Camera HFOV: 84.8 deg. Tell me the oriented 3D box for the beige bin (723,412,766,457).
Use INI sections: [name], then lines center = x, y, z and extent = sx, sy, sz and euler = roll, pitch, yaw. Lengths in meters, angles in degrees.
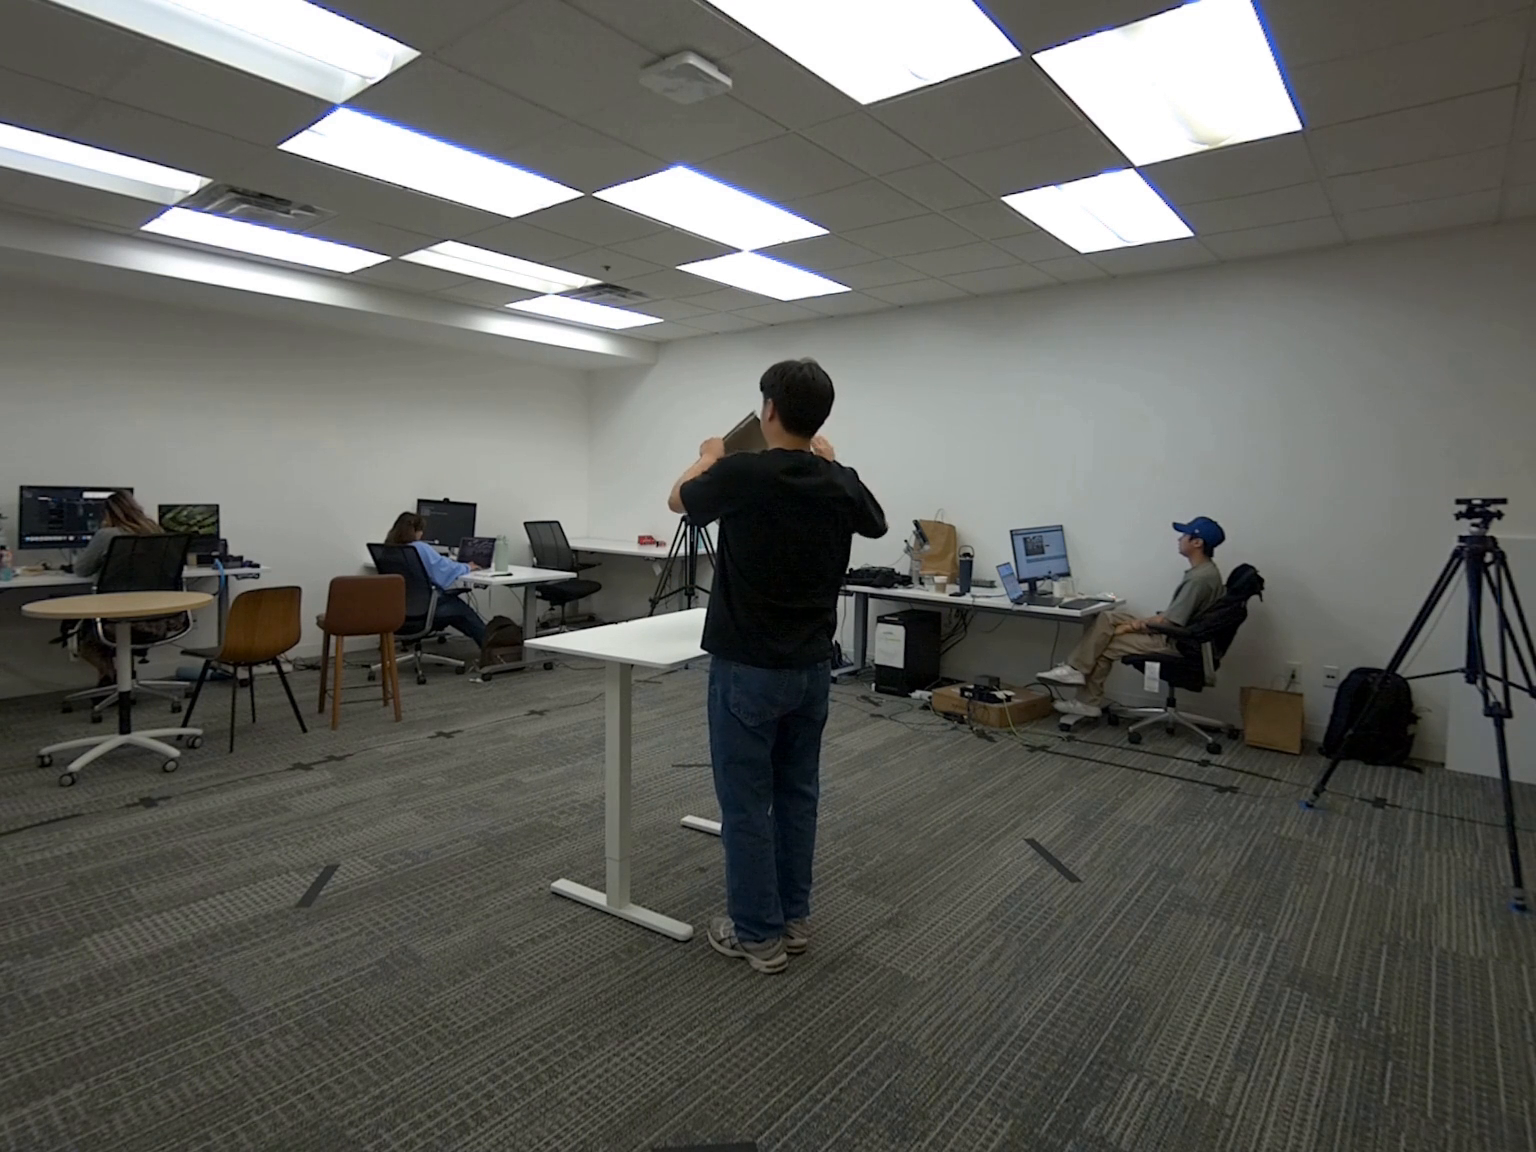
[beige bin]
center = -0.035, -0.297, 2.925
extent = 0.376, 0.422, 0.189
euler = -44, 0, -17
